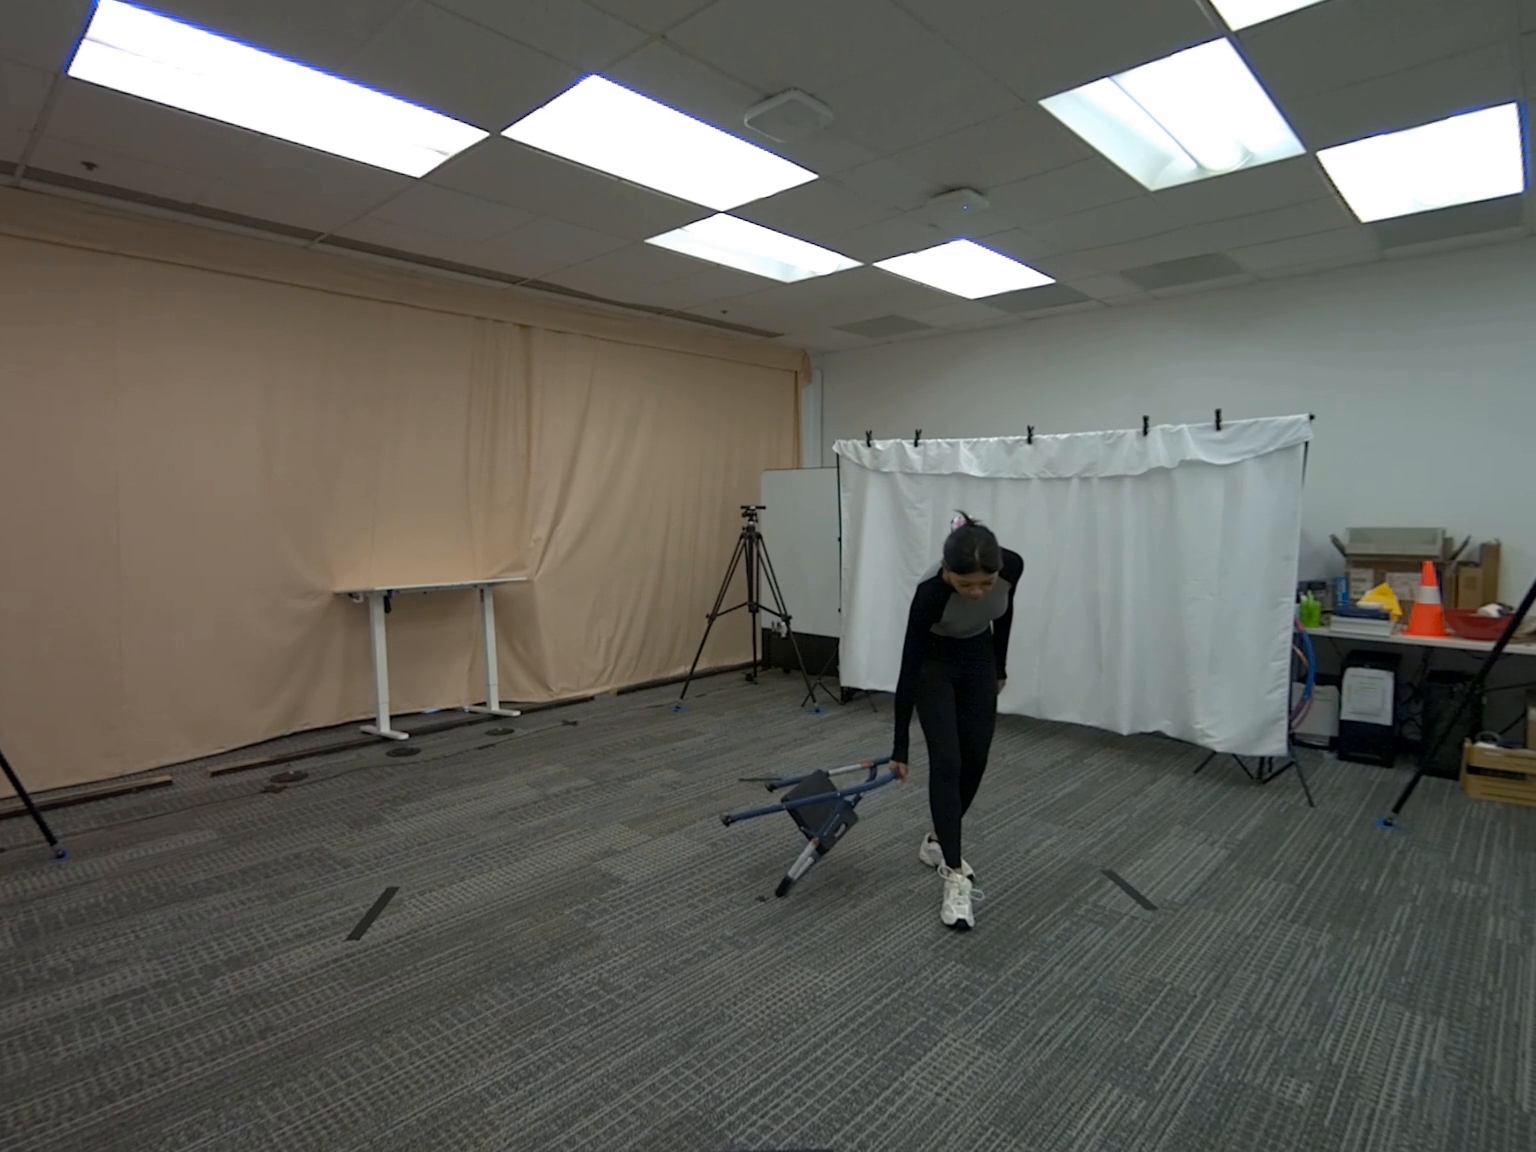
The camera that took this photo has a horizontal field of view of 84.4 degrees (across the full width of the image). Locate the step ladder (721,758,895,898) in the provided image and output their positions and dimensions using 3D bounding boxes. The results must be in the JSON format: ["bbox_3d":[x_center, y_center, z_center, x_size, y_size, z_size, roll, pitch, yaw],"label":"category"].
[{"bbox_3d":[0.223,0.813,3.104,0.610,0.355,0.420,-42,-14,22],"label":"step ladder"}]
